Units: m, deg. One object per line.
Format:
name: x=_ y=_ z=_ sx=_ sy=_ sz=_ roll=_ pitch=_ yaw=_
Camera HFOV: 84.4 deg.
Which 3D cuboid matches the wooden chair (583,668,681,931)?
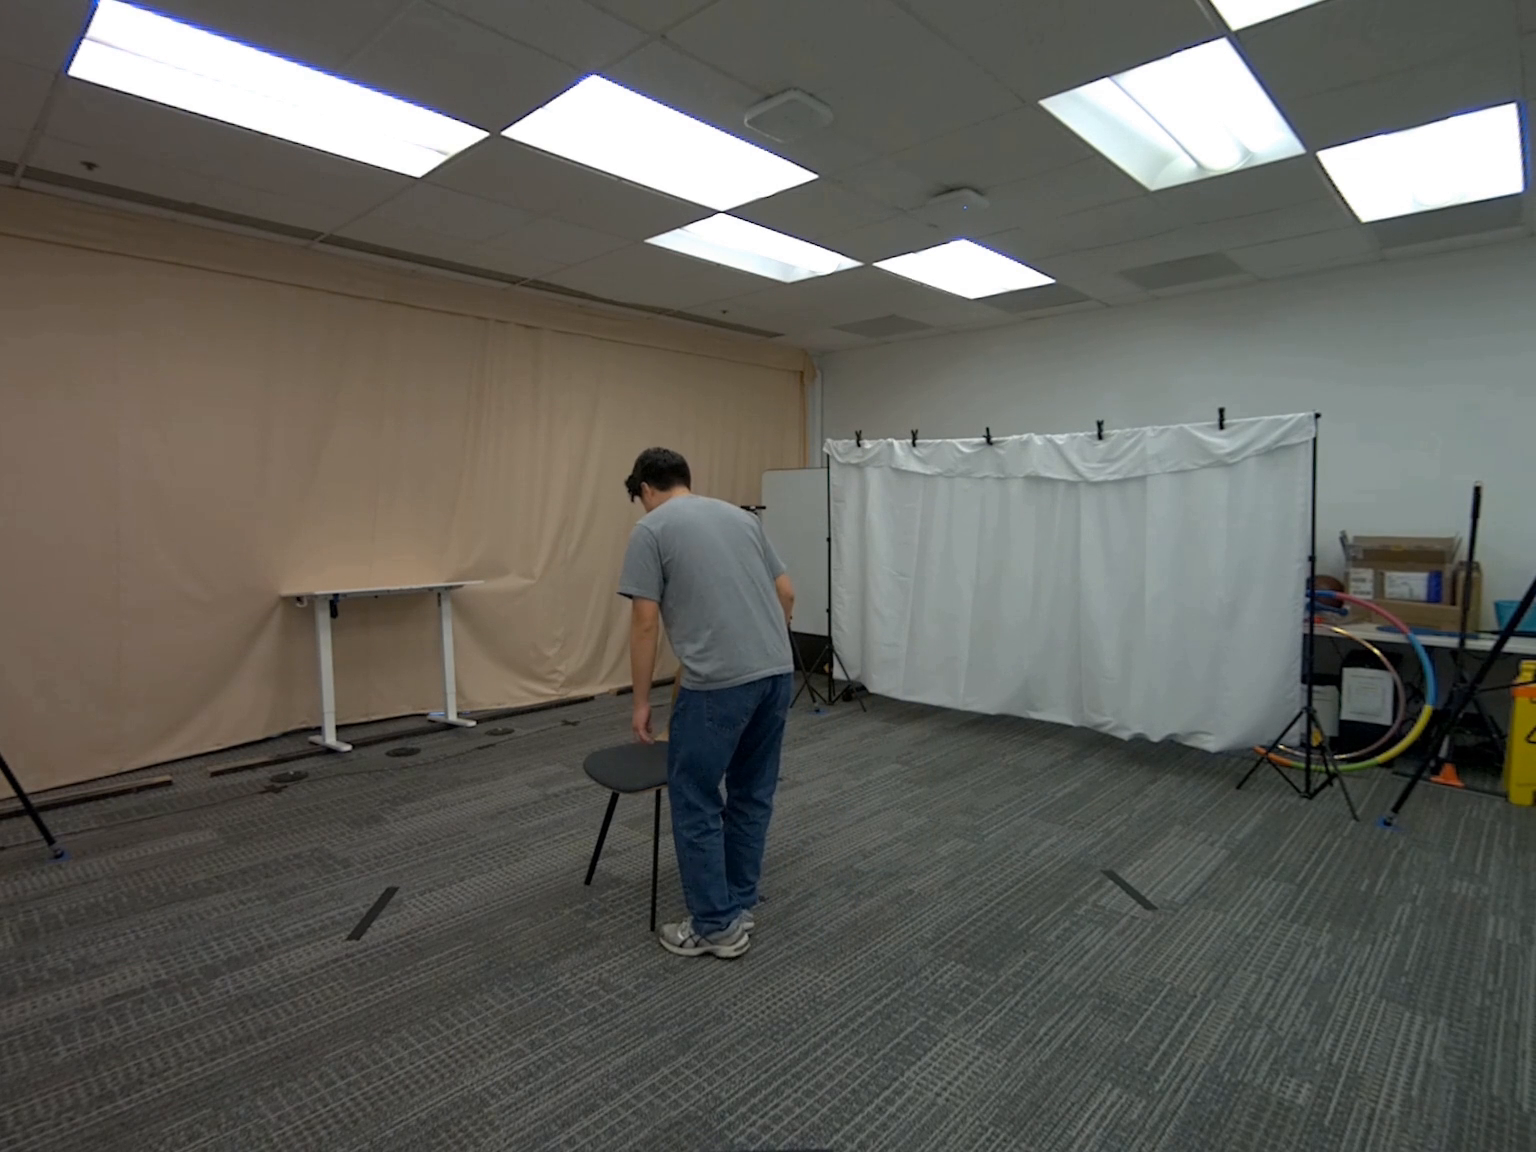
wooden chair: x=-0.371 y=0.715 z=3.038 sx=0.506 sy=0.877 sz=0.494 roll=2 pitch=1 yaw=-40
